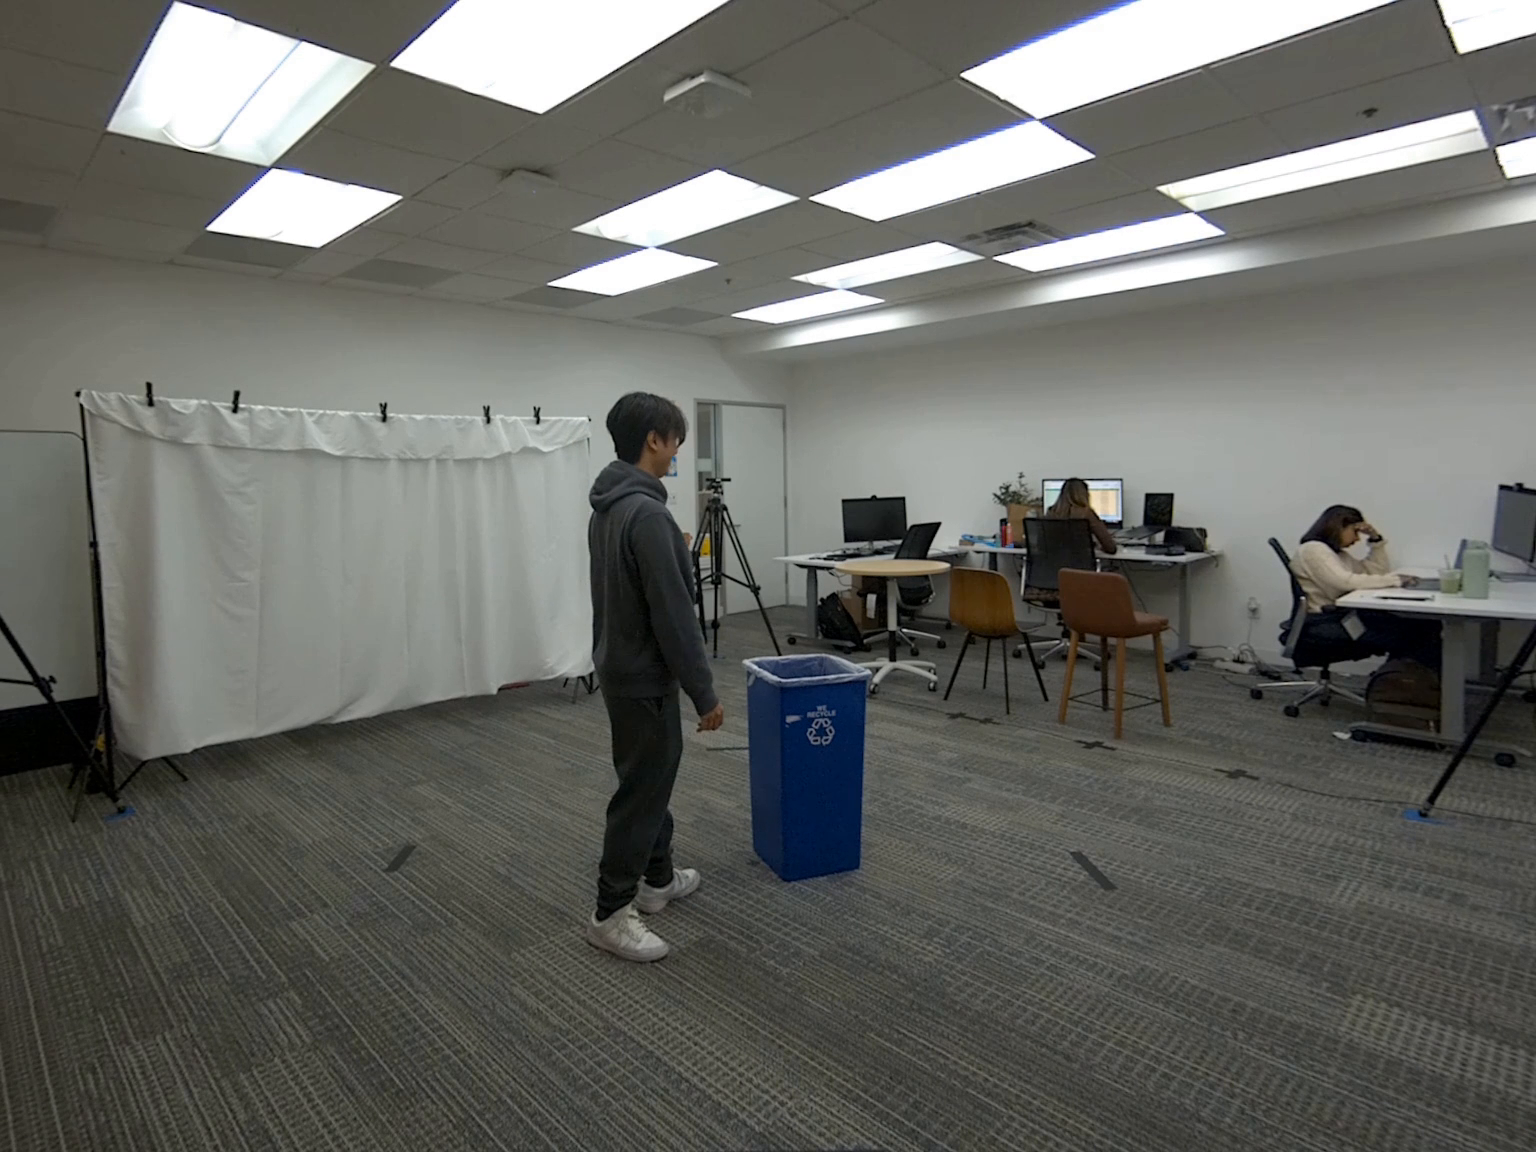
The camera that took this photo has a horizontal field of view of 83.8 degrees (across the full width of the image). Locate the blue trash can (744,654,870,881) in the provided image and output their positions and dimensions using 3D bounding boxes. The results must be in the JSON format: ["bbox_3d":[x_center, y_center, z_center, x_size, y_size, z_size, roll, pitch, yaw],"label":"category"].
[{"bbox_3d":[0.140,0.679,3.120,0.367,0.711,0.387,-3,5,-22],"label":"blue trash can"}]
